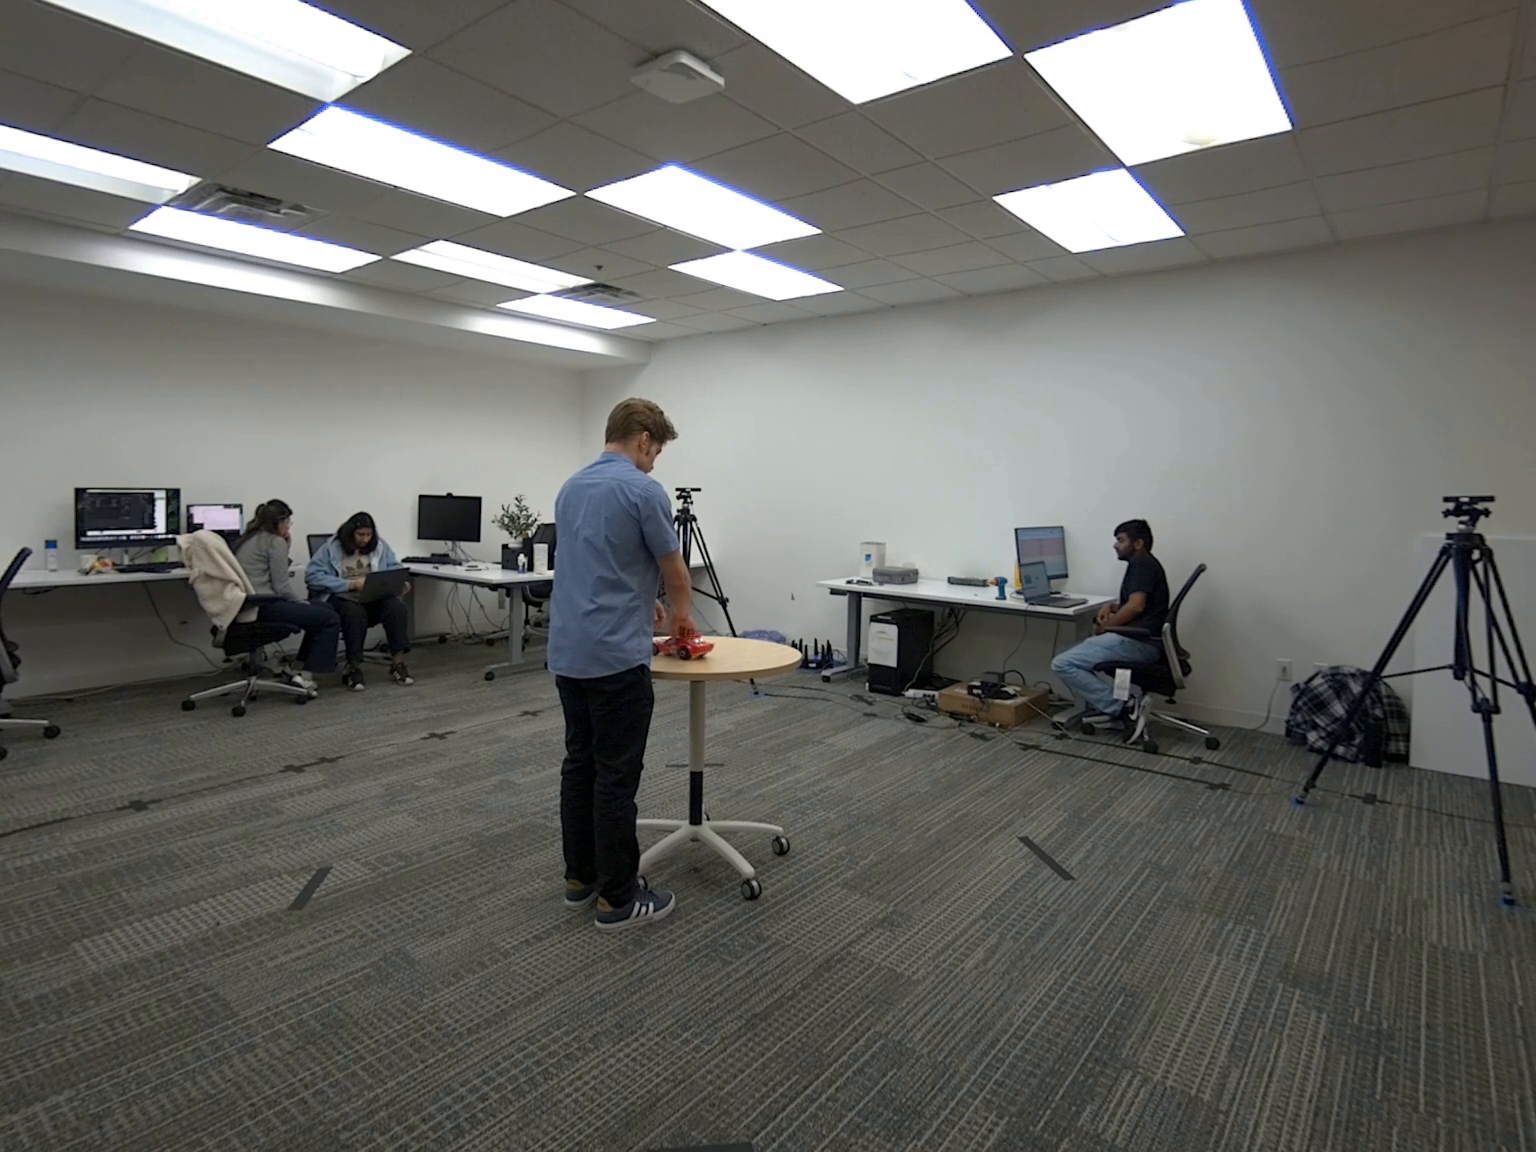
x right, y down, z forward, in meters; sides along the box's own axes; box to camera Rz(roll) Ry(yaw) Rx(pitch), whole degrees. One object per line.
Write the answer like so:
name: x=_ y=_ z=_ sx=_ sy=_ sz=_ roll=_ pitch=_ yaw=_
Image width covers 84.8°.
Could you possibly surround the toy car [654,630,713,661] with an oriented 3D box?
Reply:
toy car: x=-0.316 y=0.256 z=3.066 sx=0.261 sy=0.083 sz=0.126 roll=-9 pitch=-3 yaw=36
